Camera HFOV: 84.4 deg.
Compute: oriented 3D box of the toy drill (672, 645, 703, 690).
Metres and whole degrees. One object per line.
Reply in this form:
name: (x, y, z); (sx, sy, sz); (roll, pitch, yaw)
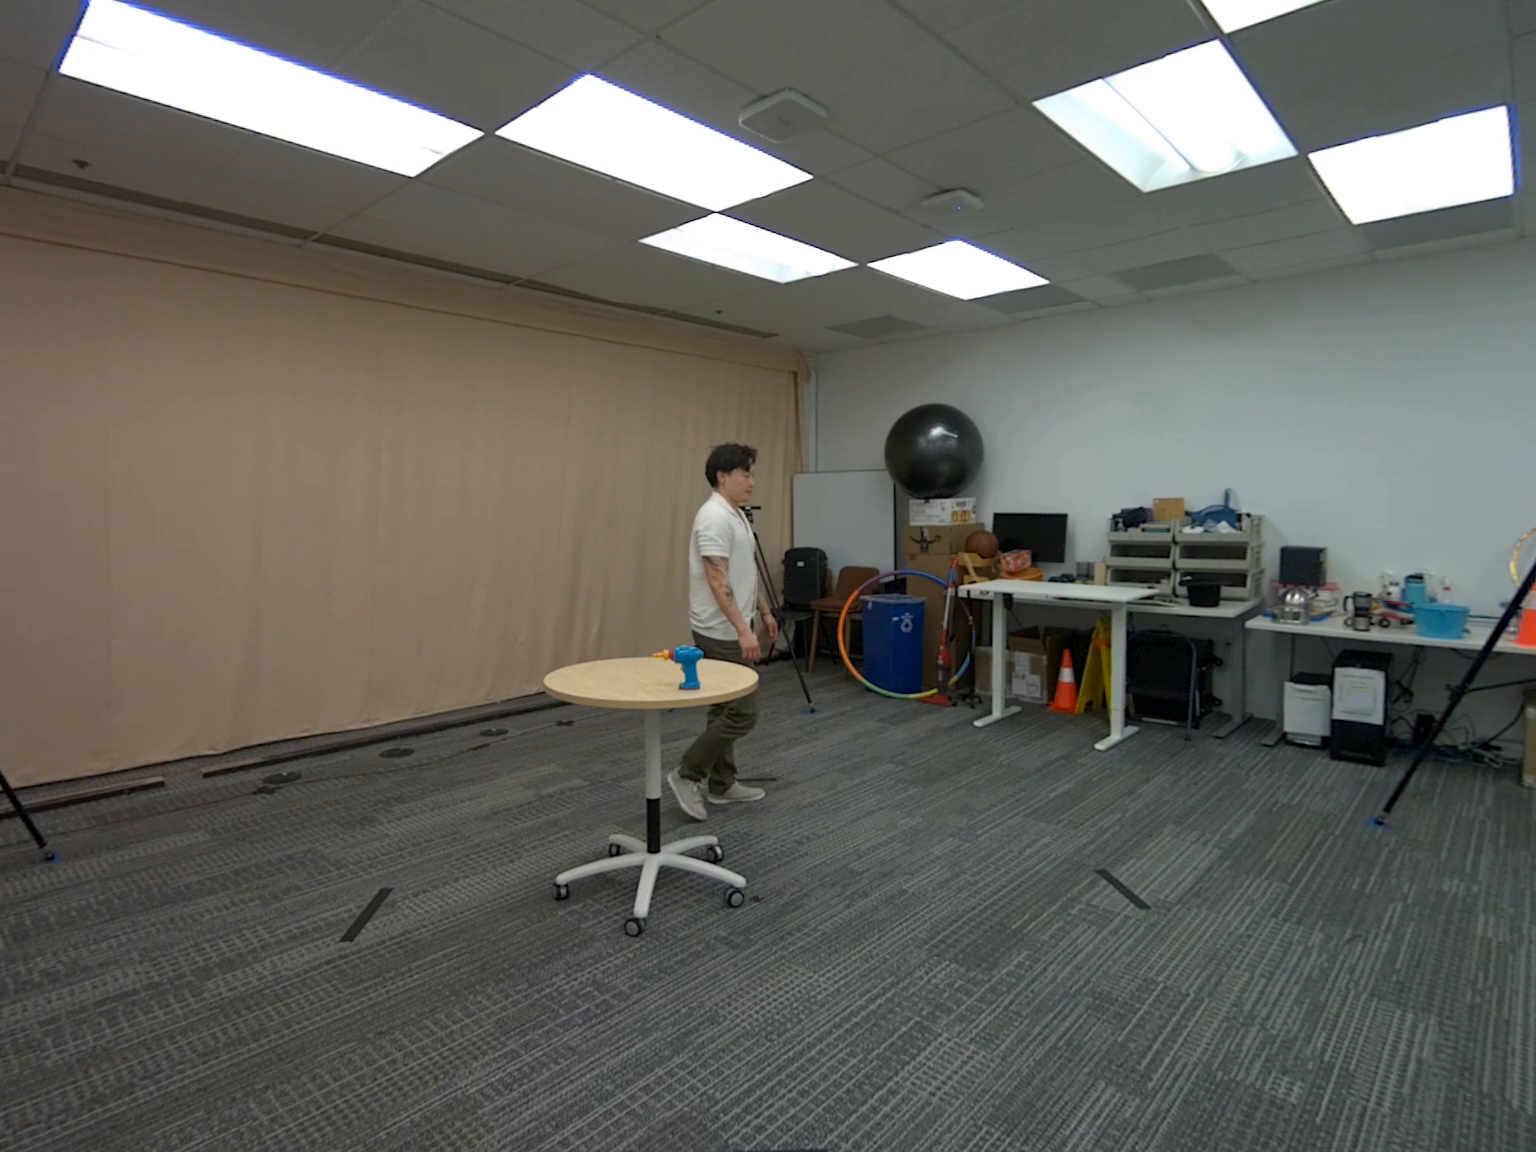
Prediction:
toy drill: (-0.308, 0.303, 2.816); (0.170, 0.145, 0.061); (0, 5, -1)
